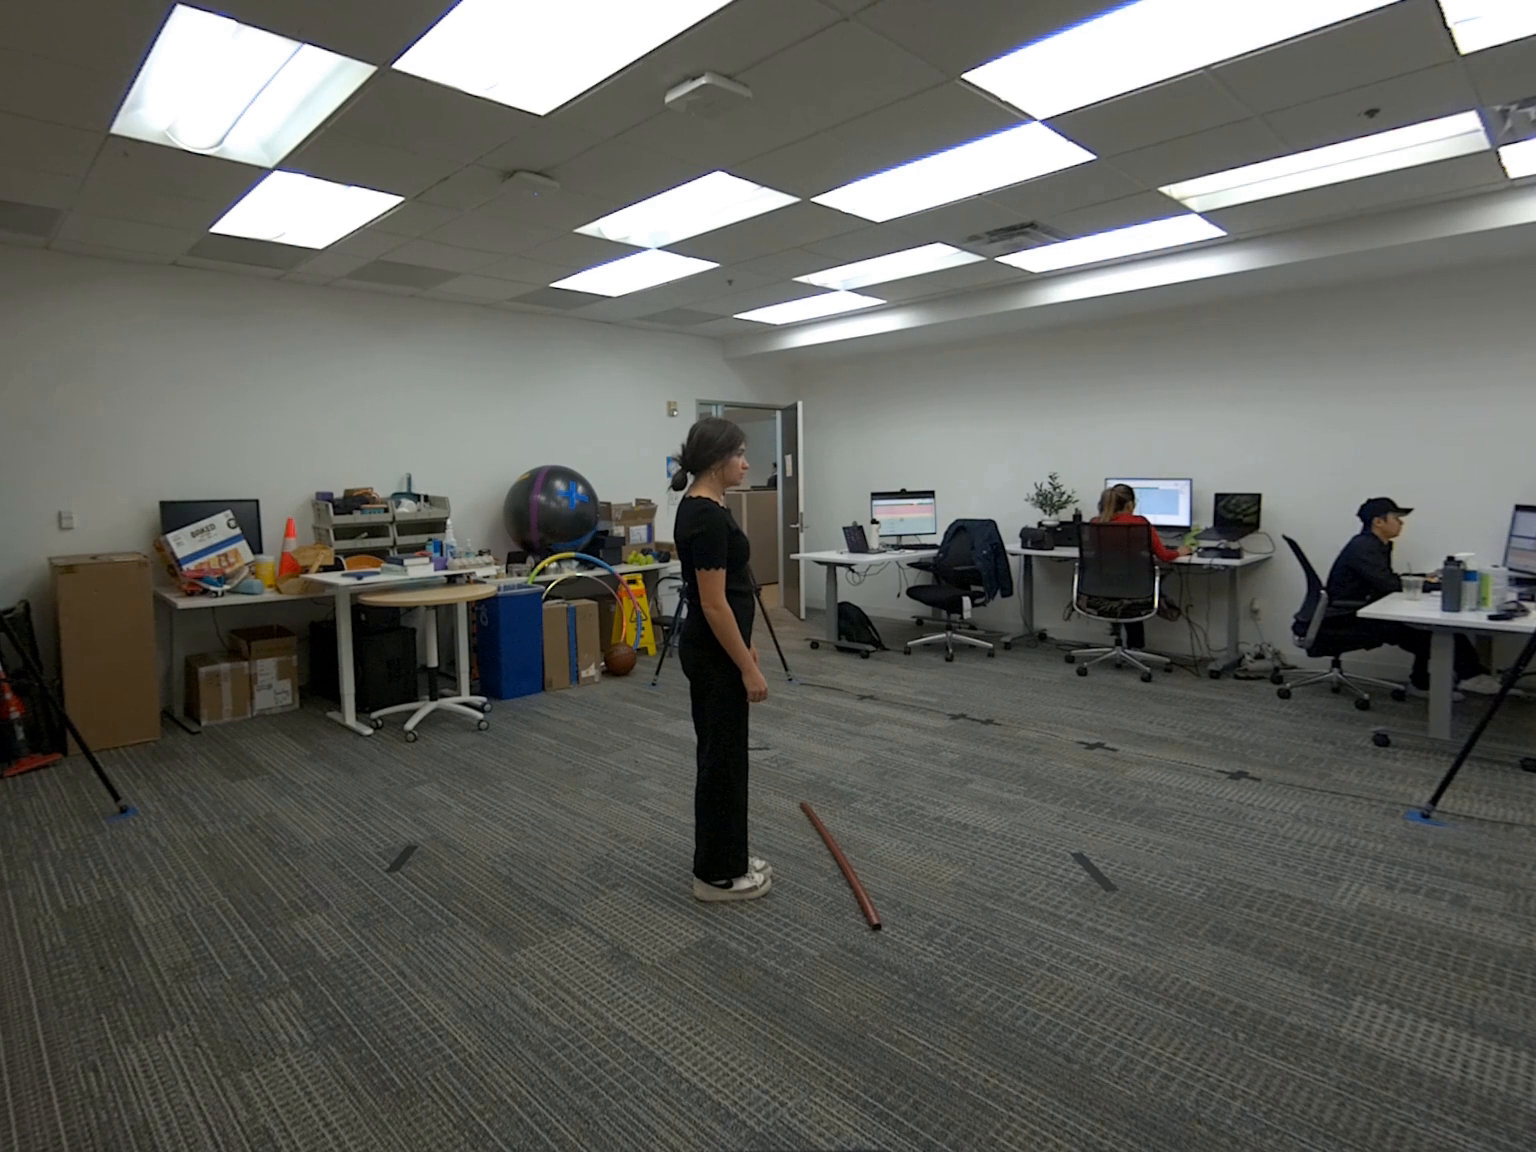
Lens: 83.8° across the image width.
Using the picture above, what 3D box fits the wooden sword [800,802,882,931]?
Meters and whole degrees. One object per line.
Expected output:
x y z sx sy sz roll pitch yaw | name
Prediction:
0.244 1.018 3.141 0.051 0.024 1.036 -42 10 -3 | wooden sword
